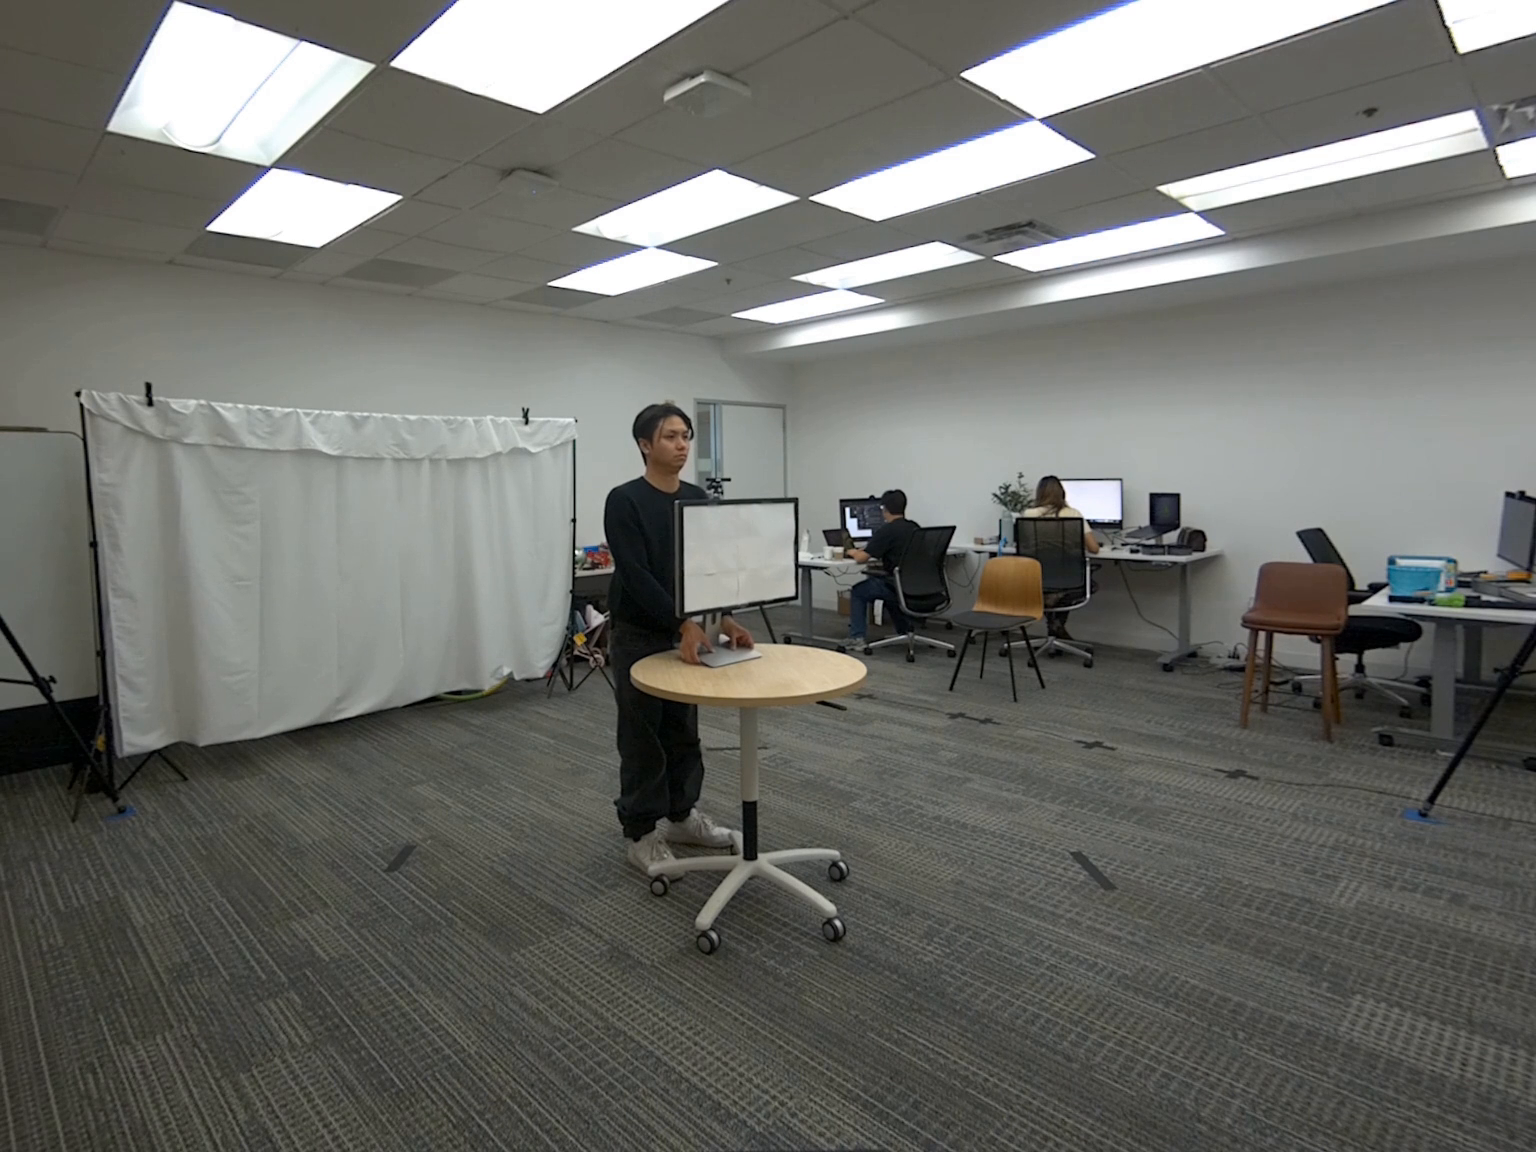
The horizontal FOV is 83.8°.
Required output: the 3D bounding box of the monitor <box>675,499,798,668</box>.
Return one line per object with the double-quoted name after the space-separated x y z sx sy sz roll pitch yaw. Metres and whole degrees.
-0.128 0.007 2.865 0.194 0.517 0.525 20 18 40 "monitor"
